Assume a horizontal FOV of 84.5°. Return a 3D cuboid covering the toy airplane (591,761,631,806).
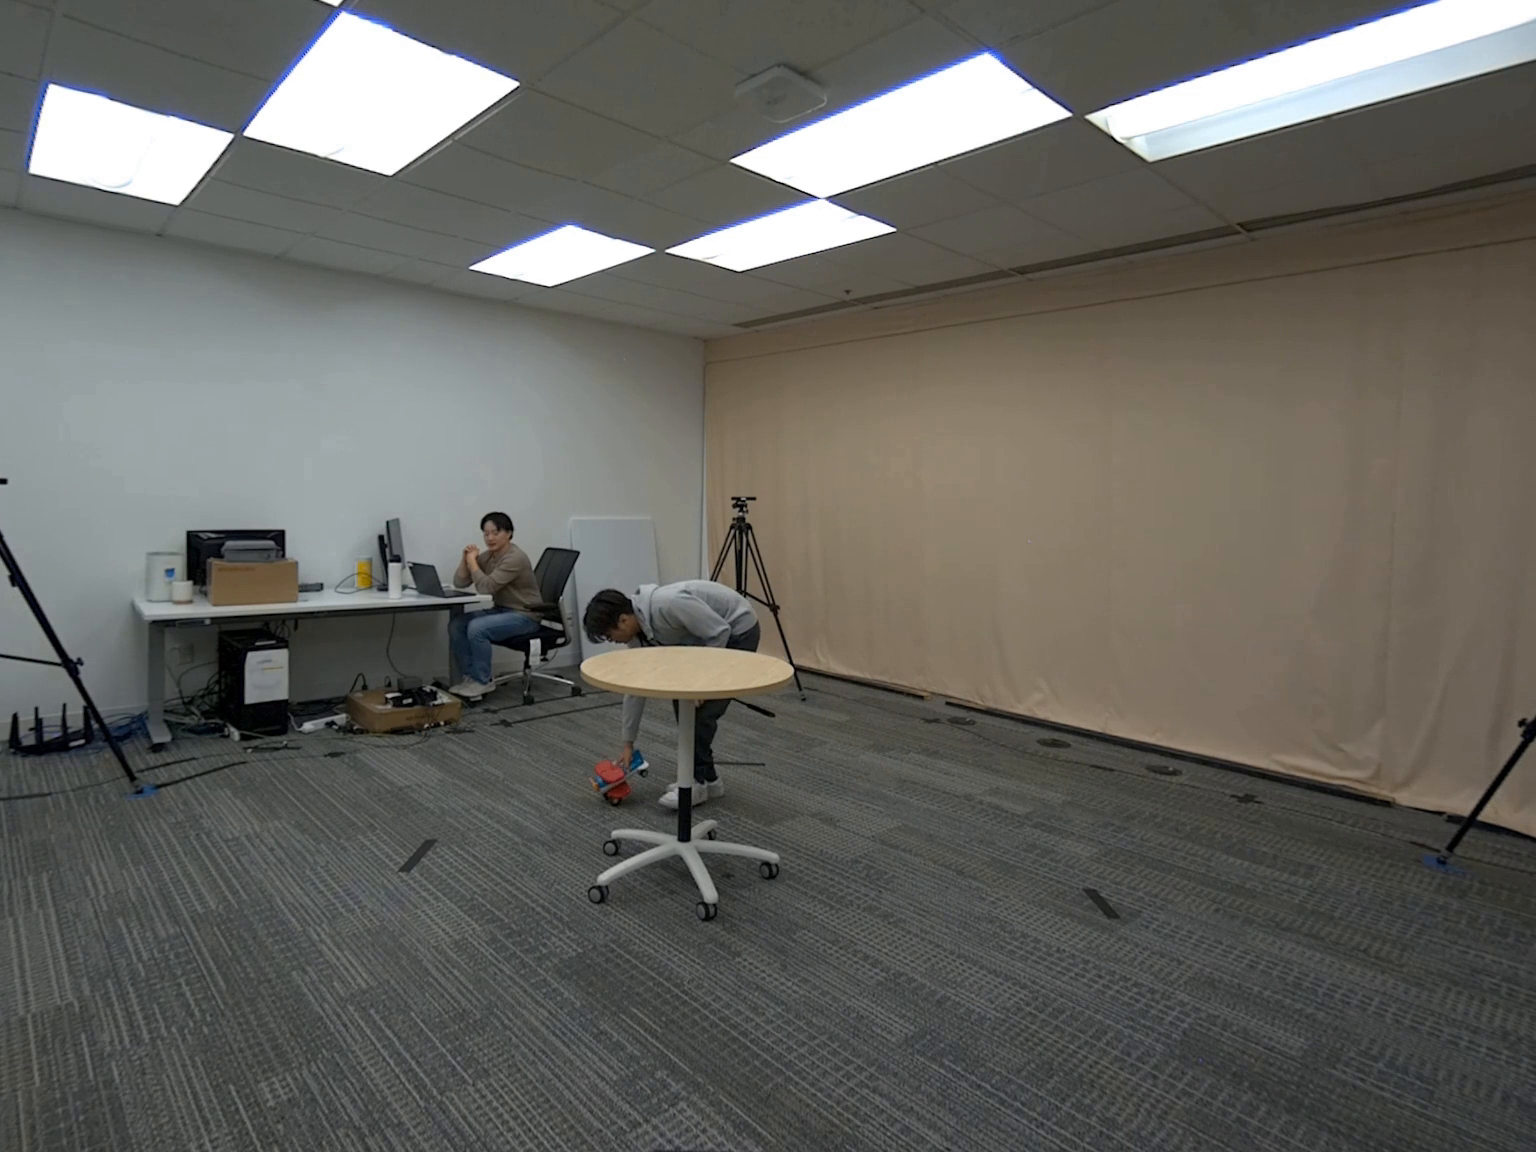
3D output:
[{"bbox_3d":[-0.692,0.919,3.855,0.255,0.153,0.260,-16,25,35],"label":"toy airplane"}]
